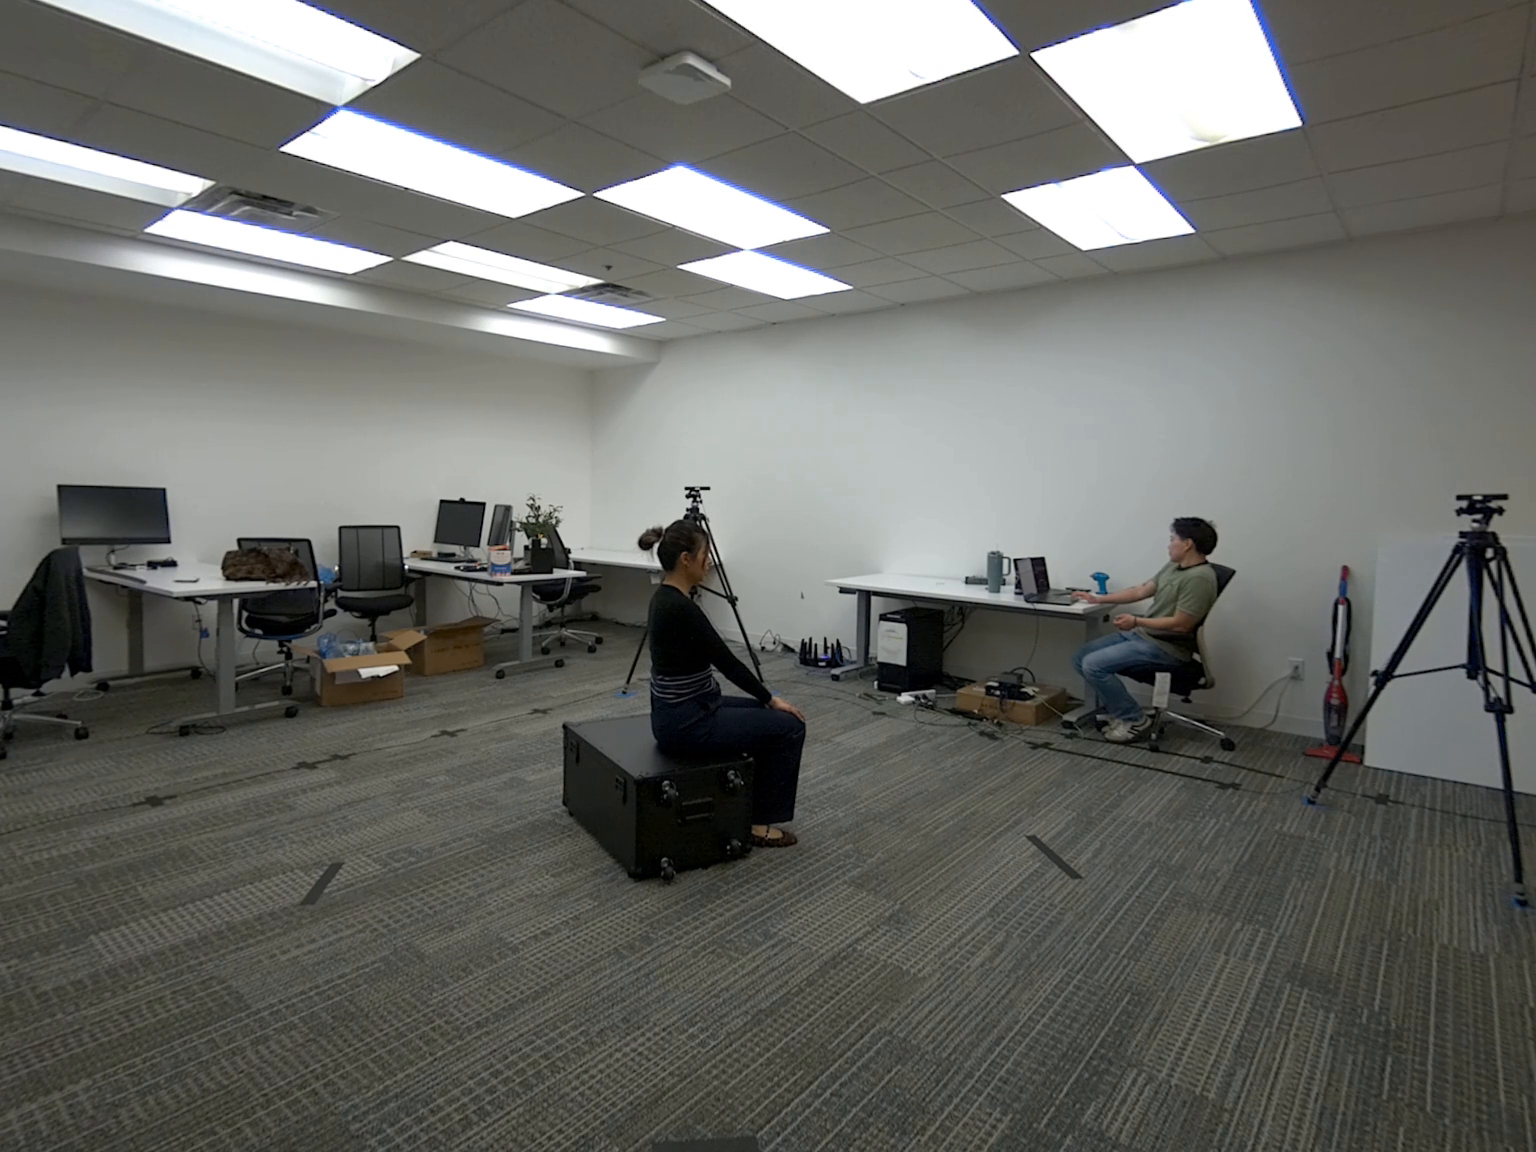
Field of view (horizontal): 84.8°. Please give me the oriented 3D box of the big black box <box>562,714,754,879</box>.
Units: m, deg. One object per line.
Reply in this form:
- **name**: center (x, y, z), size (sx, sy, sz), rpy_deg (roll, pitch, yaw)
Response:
- **big black box**: center (-0.495, 0.839, 3.440), size (0.507, 0.395, 0.889), rpy_deg (-2, 6, -32)
